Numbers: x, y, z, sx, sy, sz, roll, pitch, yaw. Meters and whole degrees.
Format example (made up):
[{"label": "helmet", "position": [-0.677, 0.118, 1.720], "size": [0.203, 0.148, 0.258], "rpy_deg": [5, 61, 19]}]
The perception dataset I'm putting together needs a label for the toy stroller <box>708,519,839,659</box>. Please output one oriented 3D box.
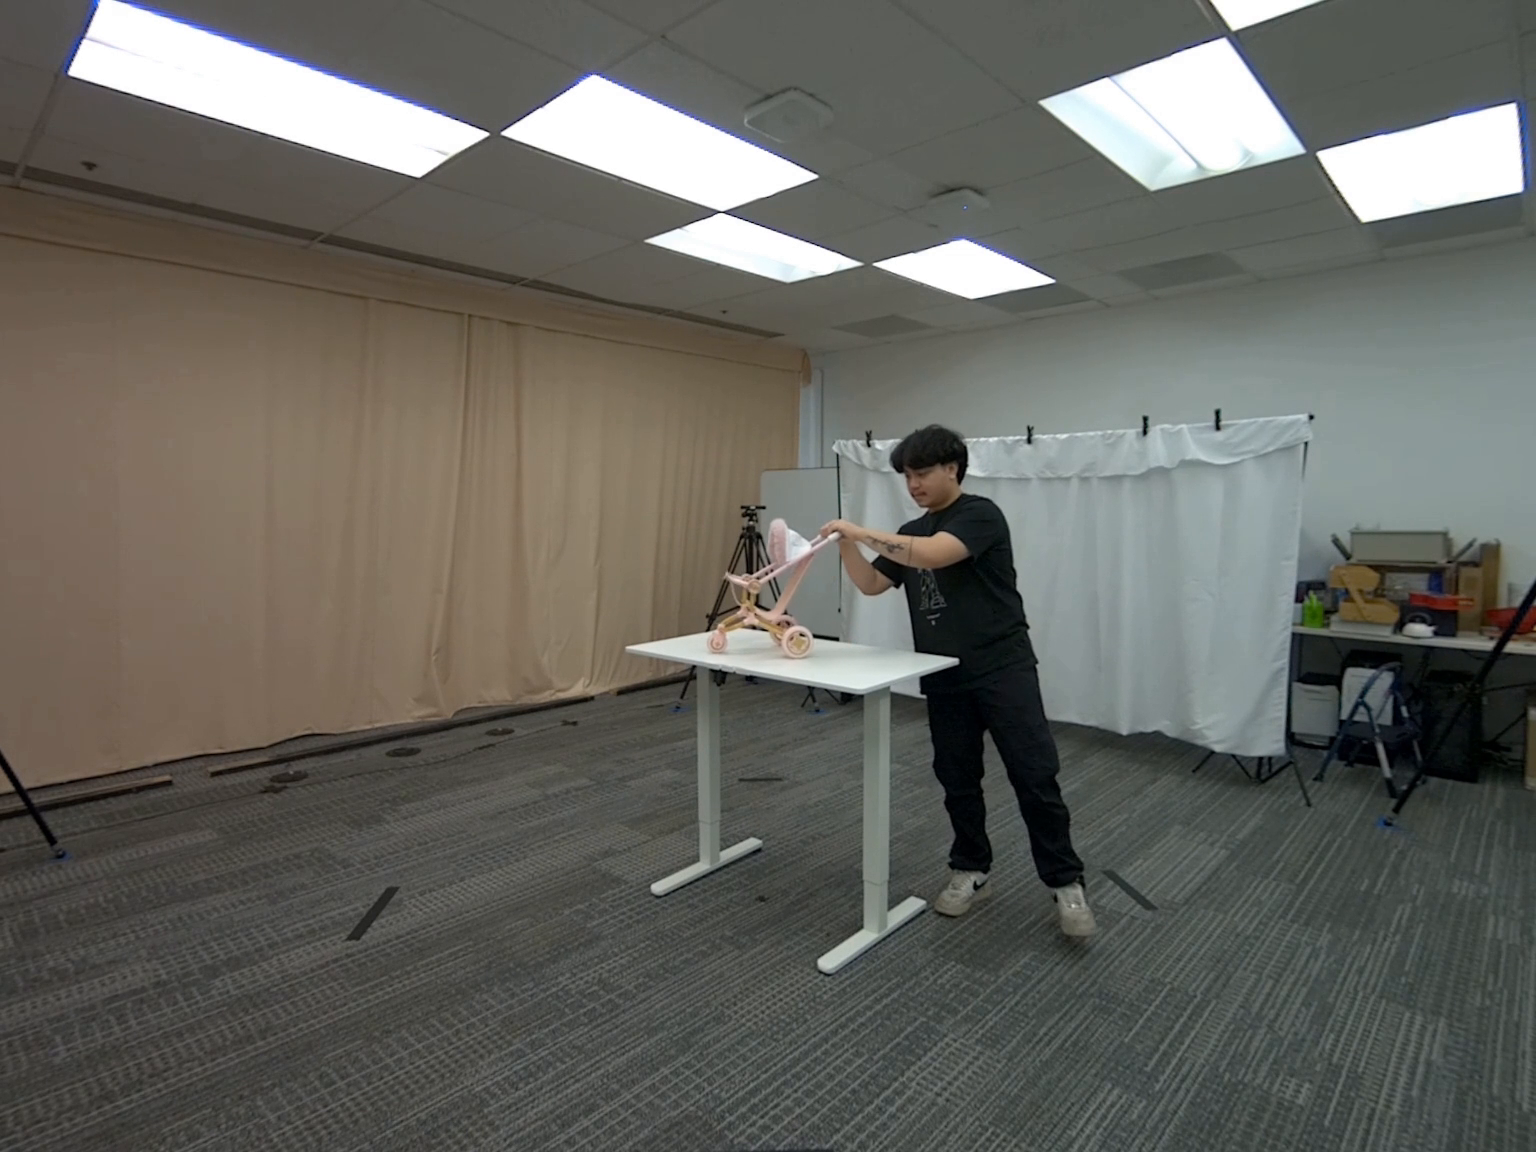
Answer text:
[{"label": "toy stroller", "position": [0.016, 0.044, 2.921], "size": [0.340, 0.534, 0.282], "rpy_deg": [15, 2, -3]}]
